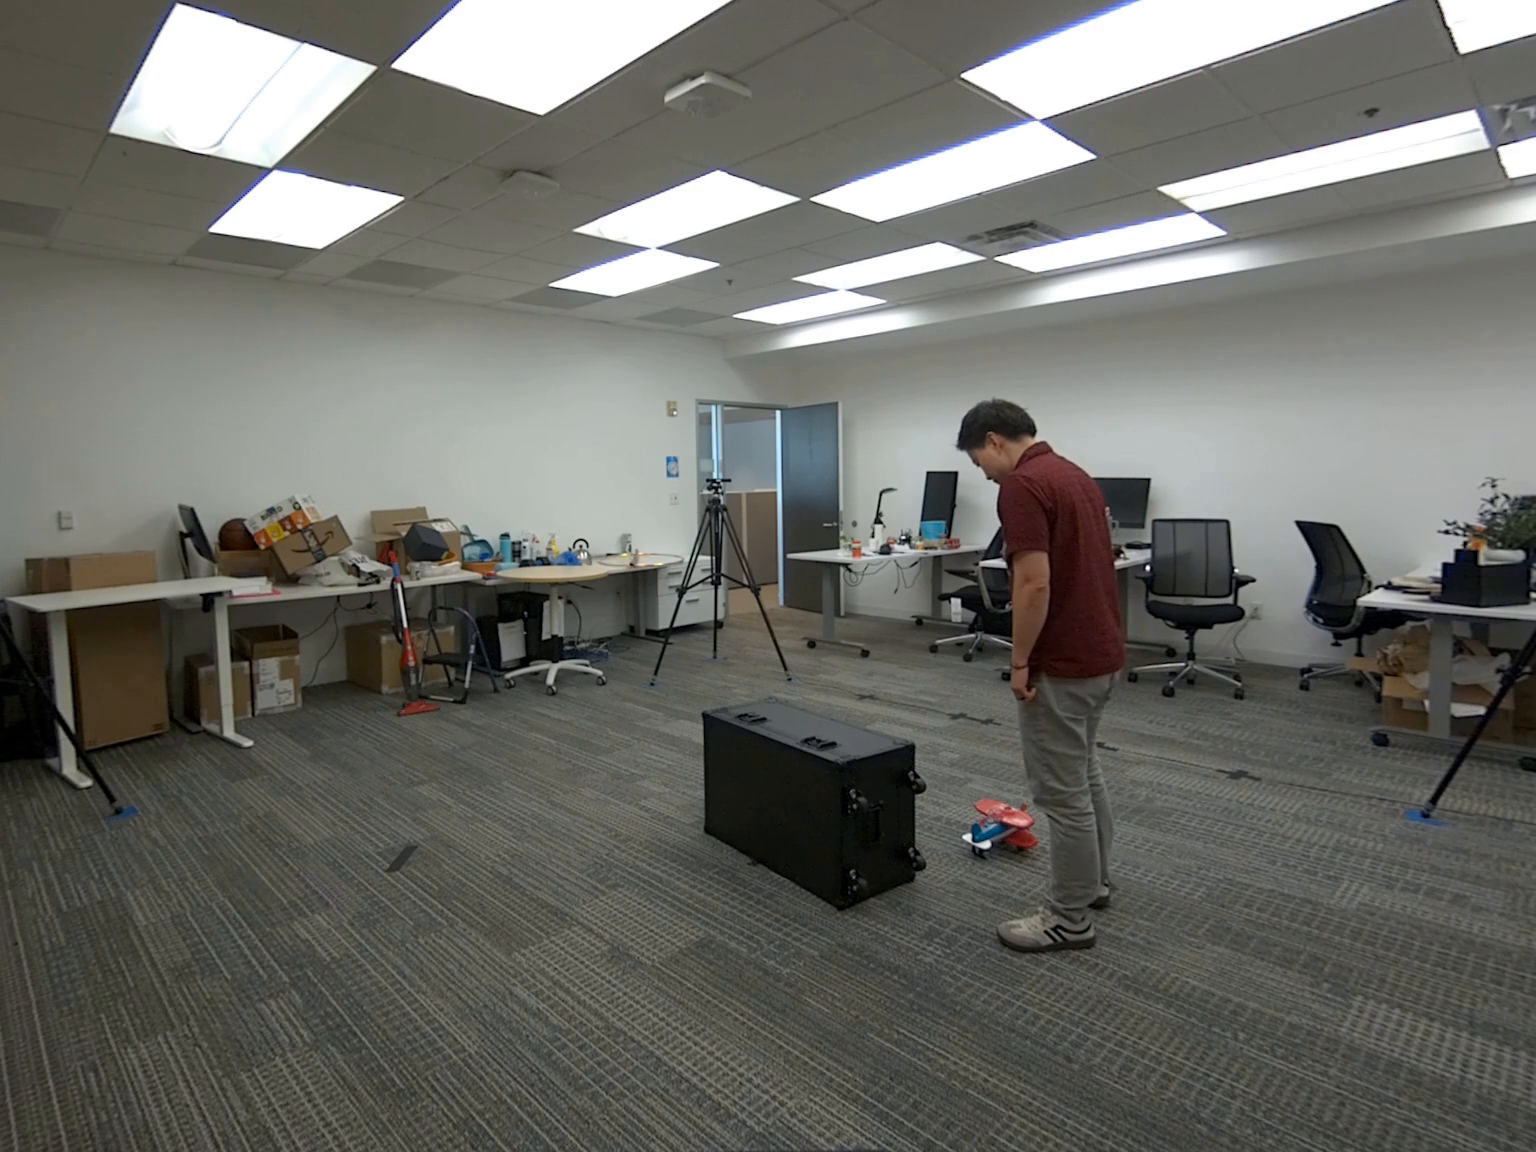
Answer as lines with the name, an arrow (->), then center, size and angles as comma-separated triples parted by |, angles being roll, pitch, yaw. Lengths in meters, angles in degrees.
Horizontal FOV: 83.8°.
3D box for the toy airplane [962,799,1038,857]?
toy airplane -> 0.861, 0.943, 3.154 | 0.258, 0.156, 0.253 | 3, 5, 32
